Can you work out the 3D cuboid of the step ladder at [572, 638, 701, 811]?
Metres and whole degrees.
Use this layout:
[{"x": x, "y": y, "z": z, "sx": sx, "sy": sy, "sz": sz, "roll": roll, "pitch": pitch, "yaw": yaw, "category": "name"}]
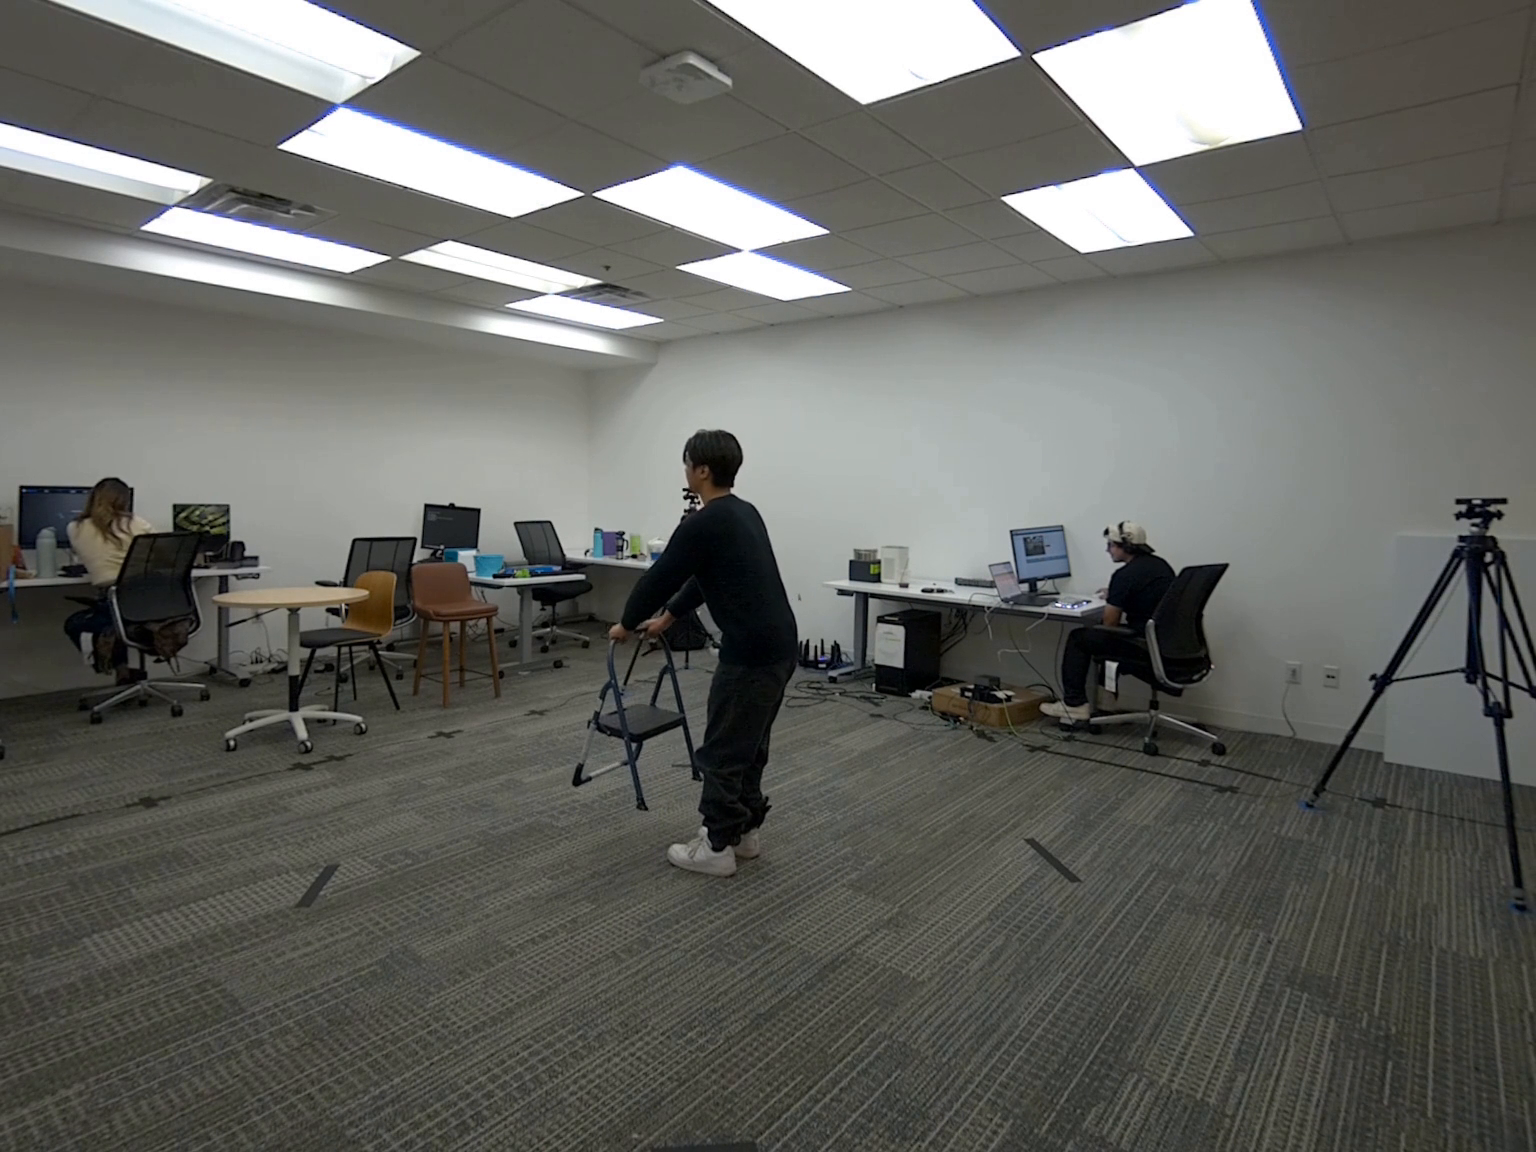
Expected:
[{"x": -0.500, "y": 0.515, "z": 3.343, "sx": 0.359, "sy": 0.604, "sz": 0.420, "roll": 8, "pitch": 5, "yaw": 27, "category": "step ladder"}]
